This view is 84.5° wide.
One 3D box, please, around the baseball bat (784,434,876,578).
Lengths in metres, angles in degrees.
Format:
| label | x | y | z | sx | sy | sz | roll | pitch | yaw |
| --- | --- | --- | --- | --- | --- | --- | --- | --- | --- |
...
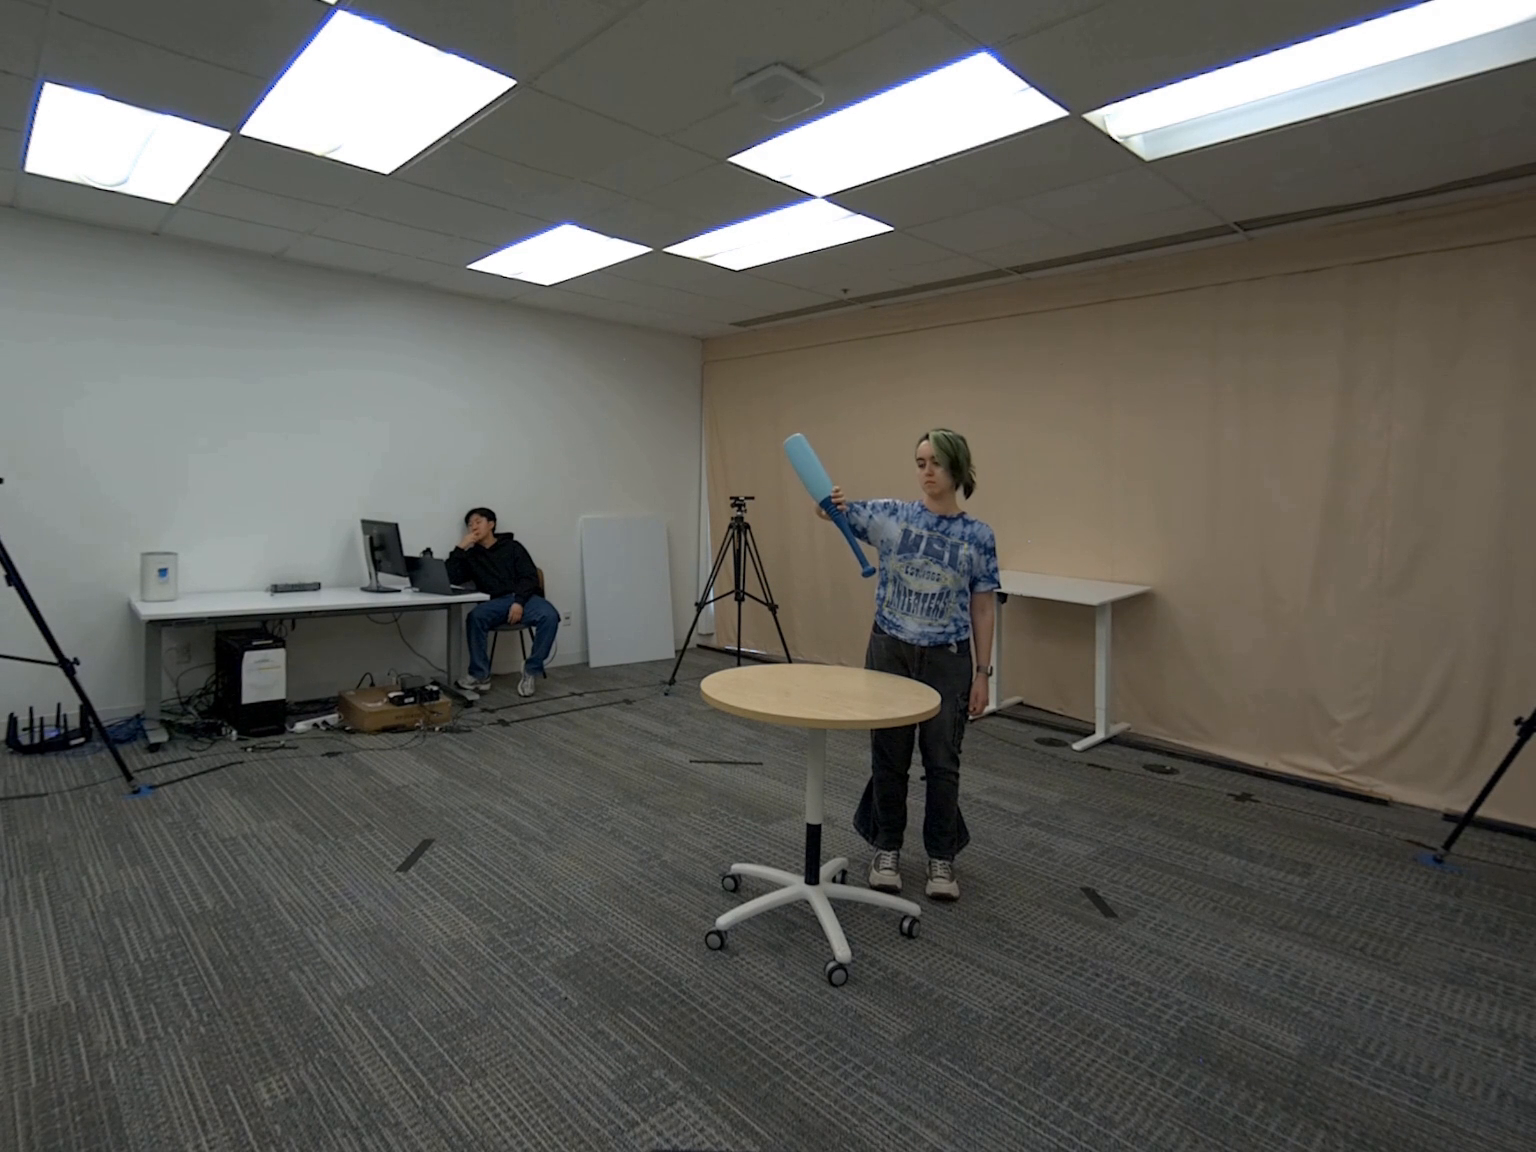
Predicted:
| label | x | y | z | sx | sy | sz | roll | pitch | yaw |
| --- | --- | --- | --- | --- | --- | --- | --- | --- | --- |
| baseball bat | 0.202 | -0.232 | 2.793 | 0.089 | 0.552 | 0.088 | -25 | -16 | -9 |
